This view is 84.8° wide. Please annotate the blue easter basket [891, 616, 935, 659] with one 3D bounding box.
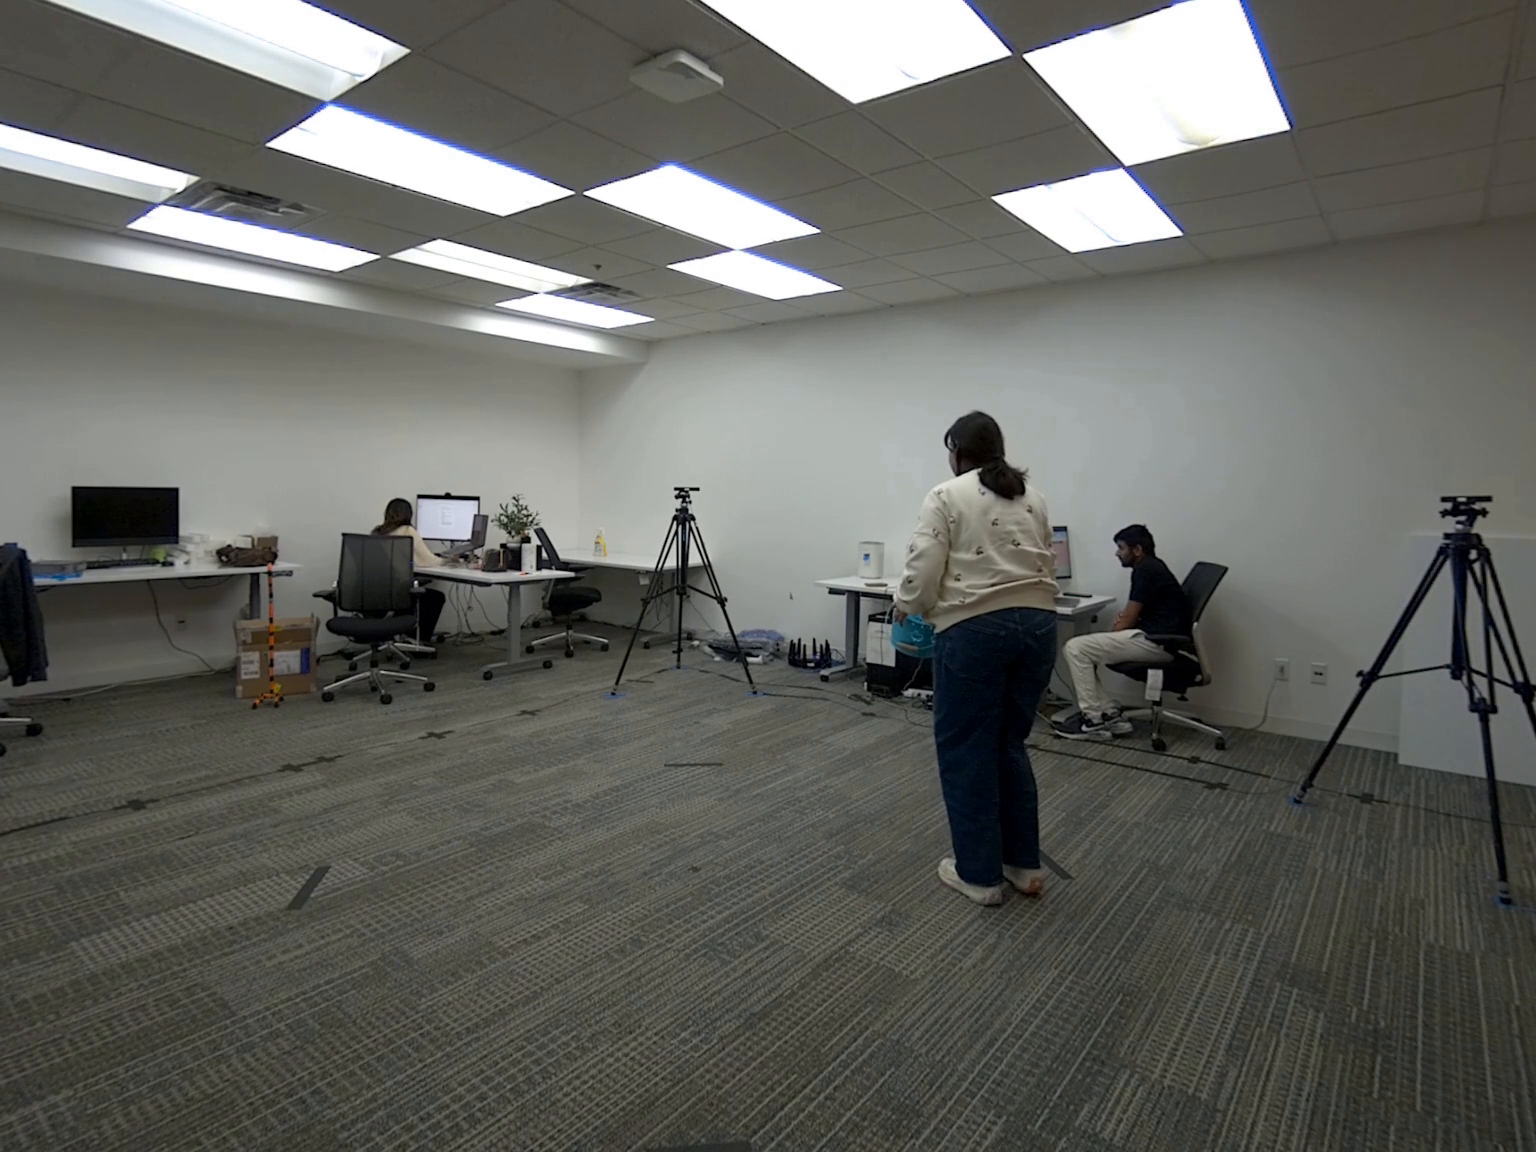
[{"bbox_3d":[0.585,0.214,3.298,0.242,0.154,0.248,8,18,-4],"label":"blue easter basket"}]
